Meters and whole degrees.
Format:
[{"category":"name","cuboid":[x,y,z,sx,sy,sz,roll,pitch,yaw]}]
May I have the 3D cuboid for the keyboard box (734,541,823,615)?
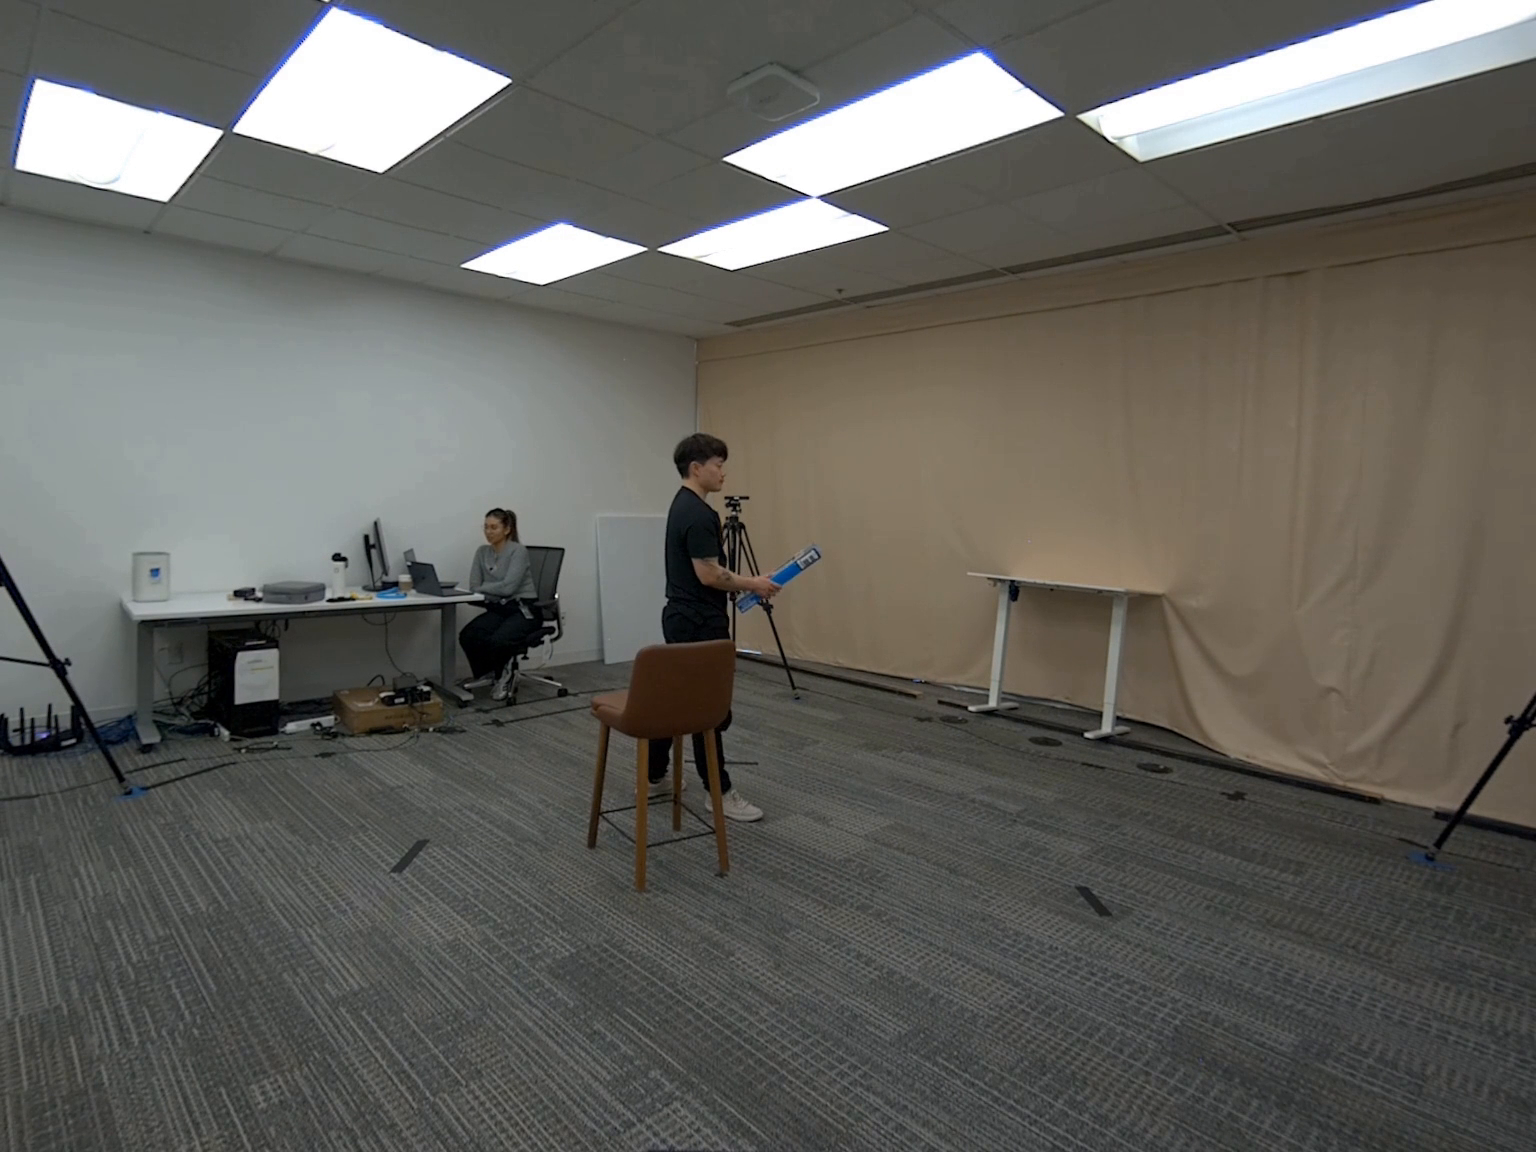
[{"category":"keyboard box","cuboid":[0.045,0.004,3.800,0.437,0.059,0.176,-36,6,8]}]
